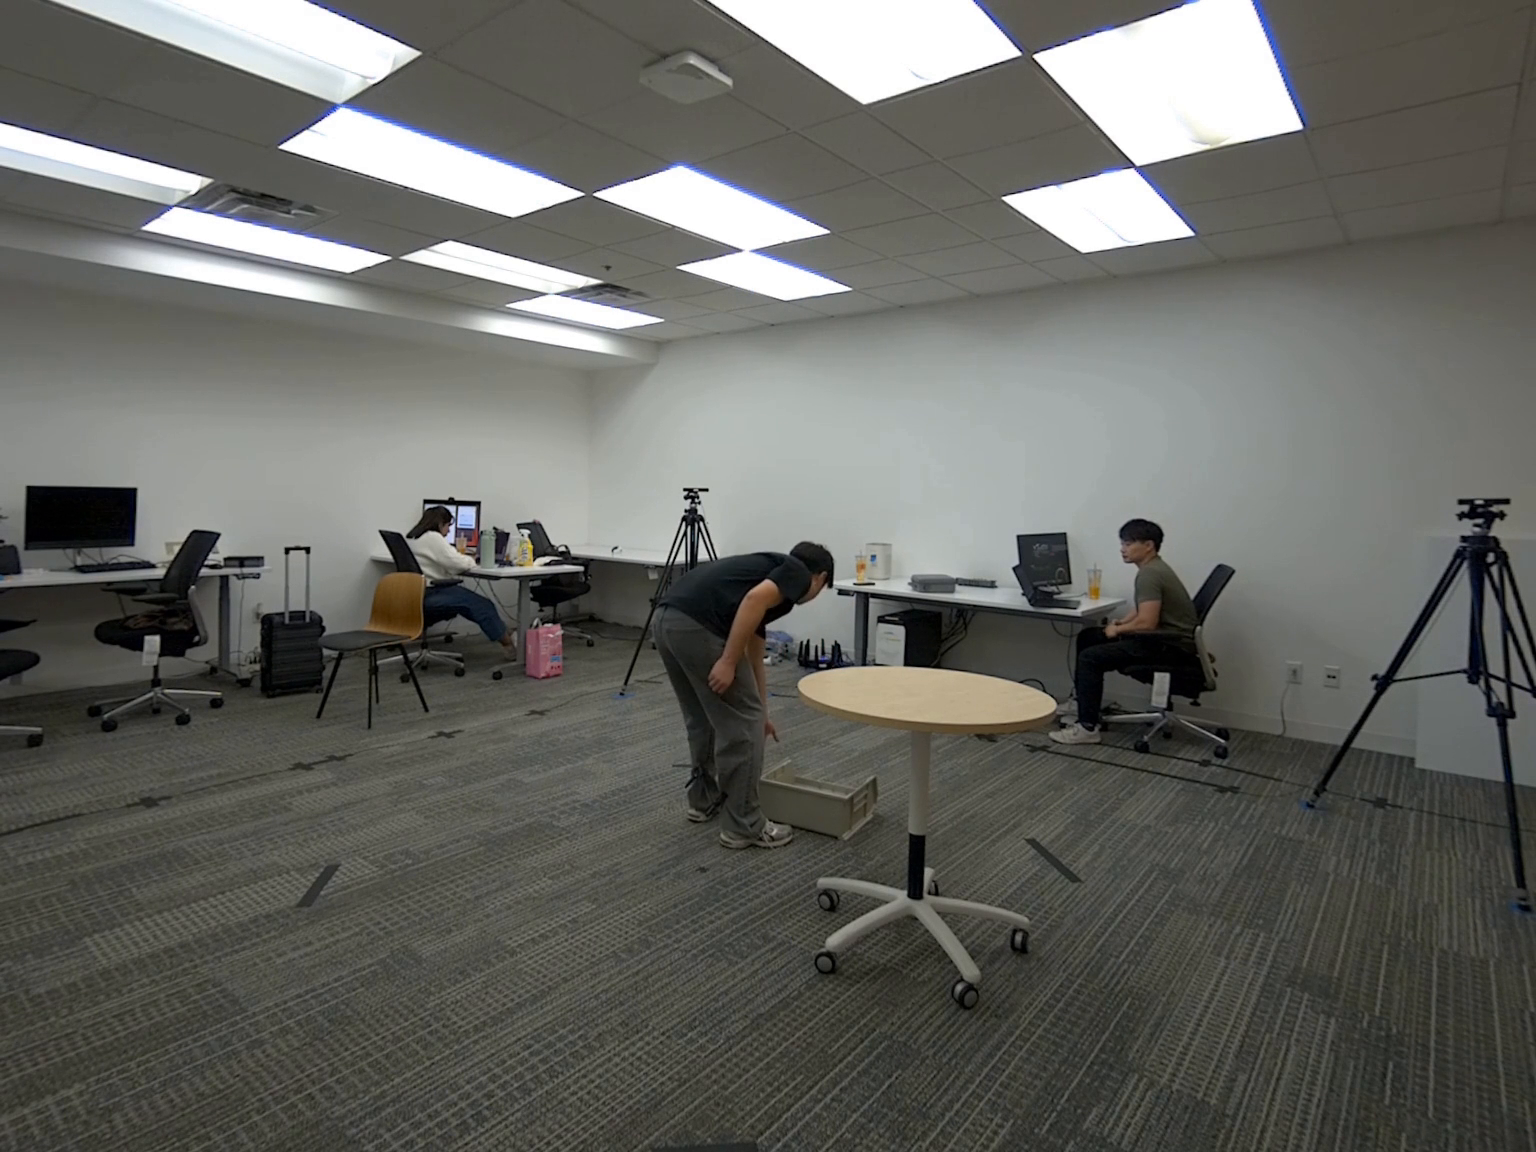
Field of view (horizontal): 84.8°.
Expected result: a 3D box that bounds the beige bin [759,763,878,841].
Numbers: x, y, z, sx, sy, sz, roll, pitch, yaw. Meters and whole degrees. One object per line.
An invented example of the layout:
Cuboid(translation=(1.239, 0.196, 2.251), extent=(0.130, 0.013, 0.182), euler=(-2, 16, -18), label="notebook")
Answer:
Cuboid(translation=(0.198, 0.936, 3.636), extent=(0.435, 0.188, 0.368), euler=(5, 7, 30), label="beige bin")
